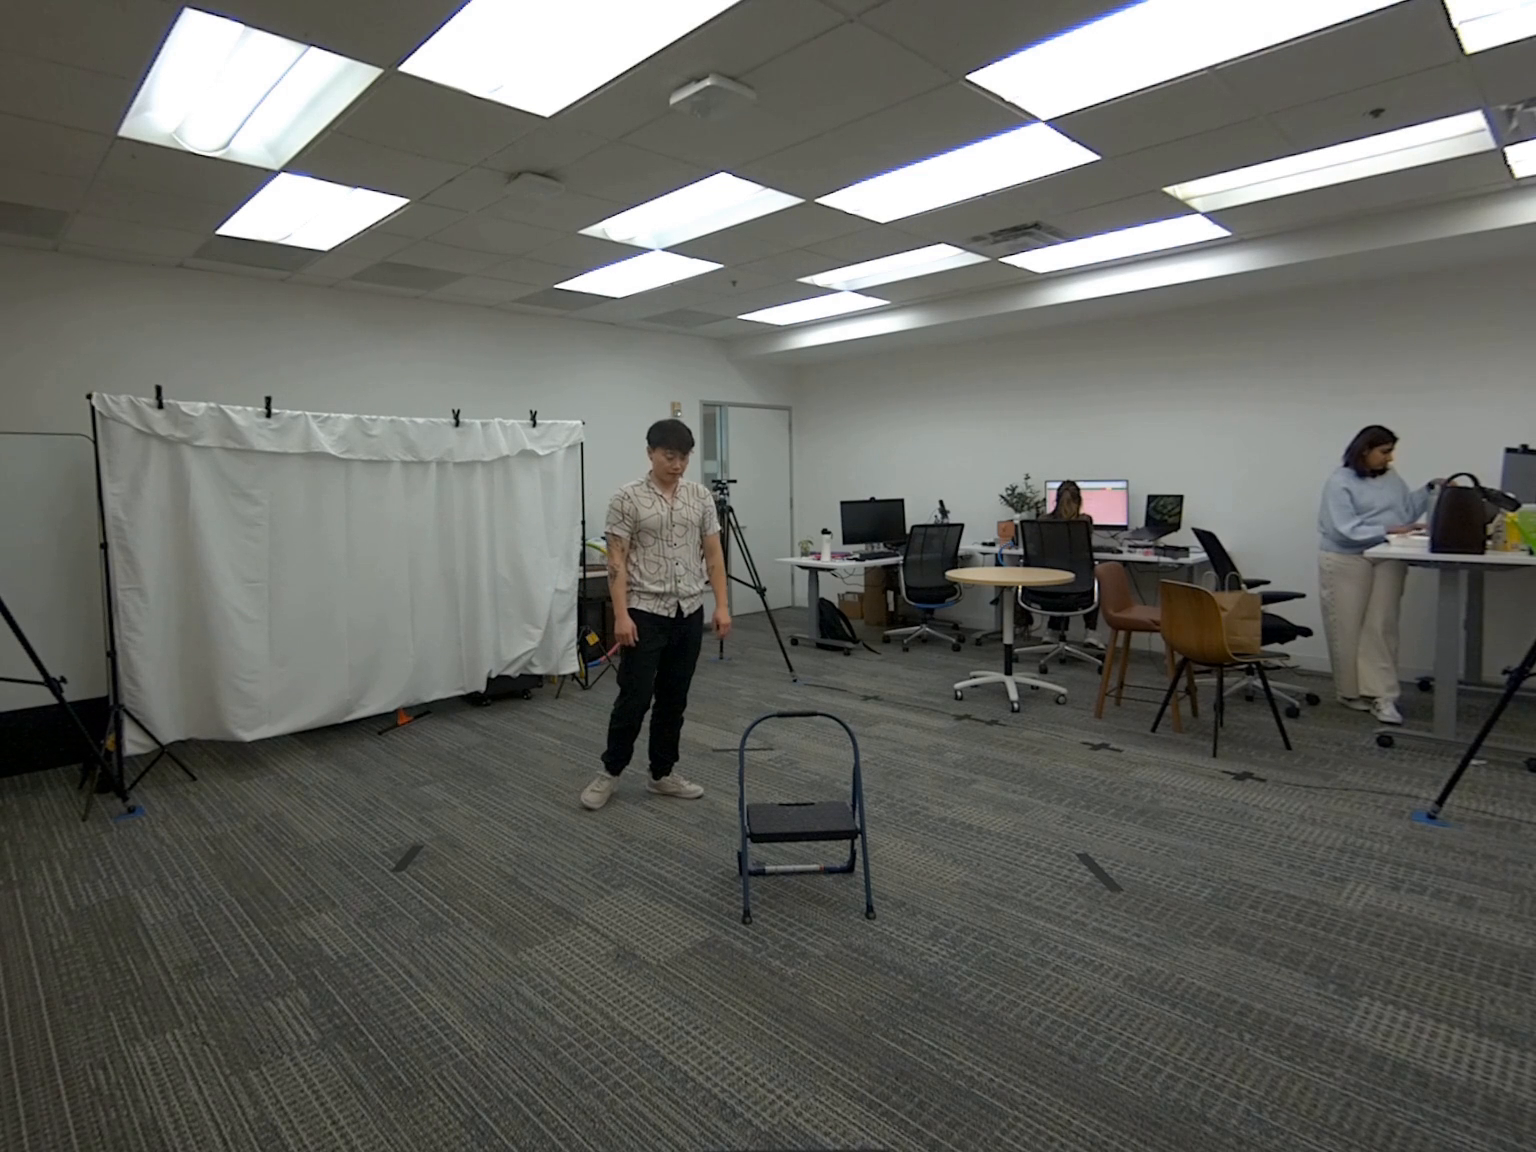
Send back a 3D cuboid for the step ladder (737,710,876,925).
[{"bbox_3d":[0.114,0.773,2.856,0.429,0.604,0.352,-1,5,-4],"label":"step ladder"}]
